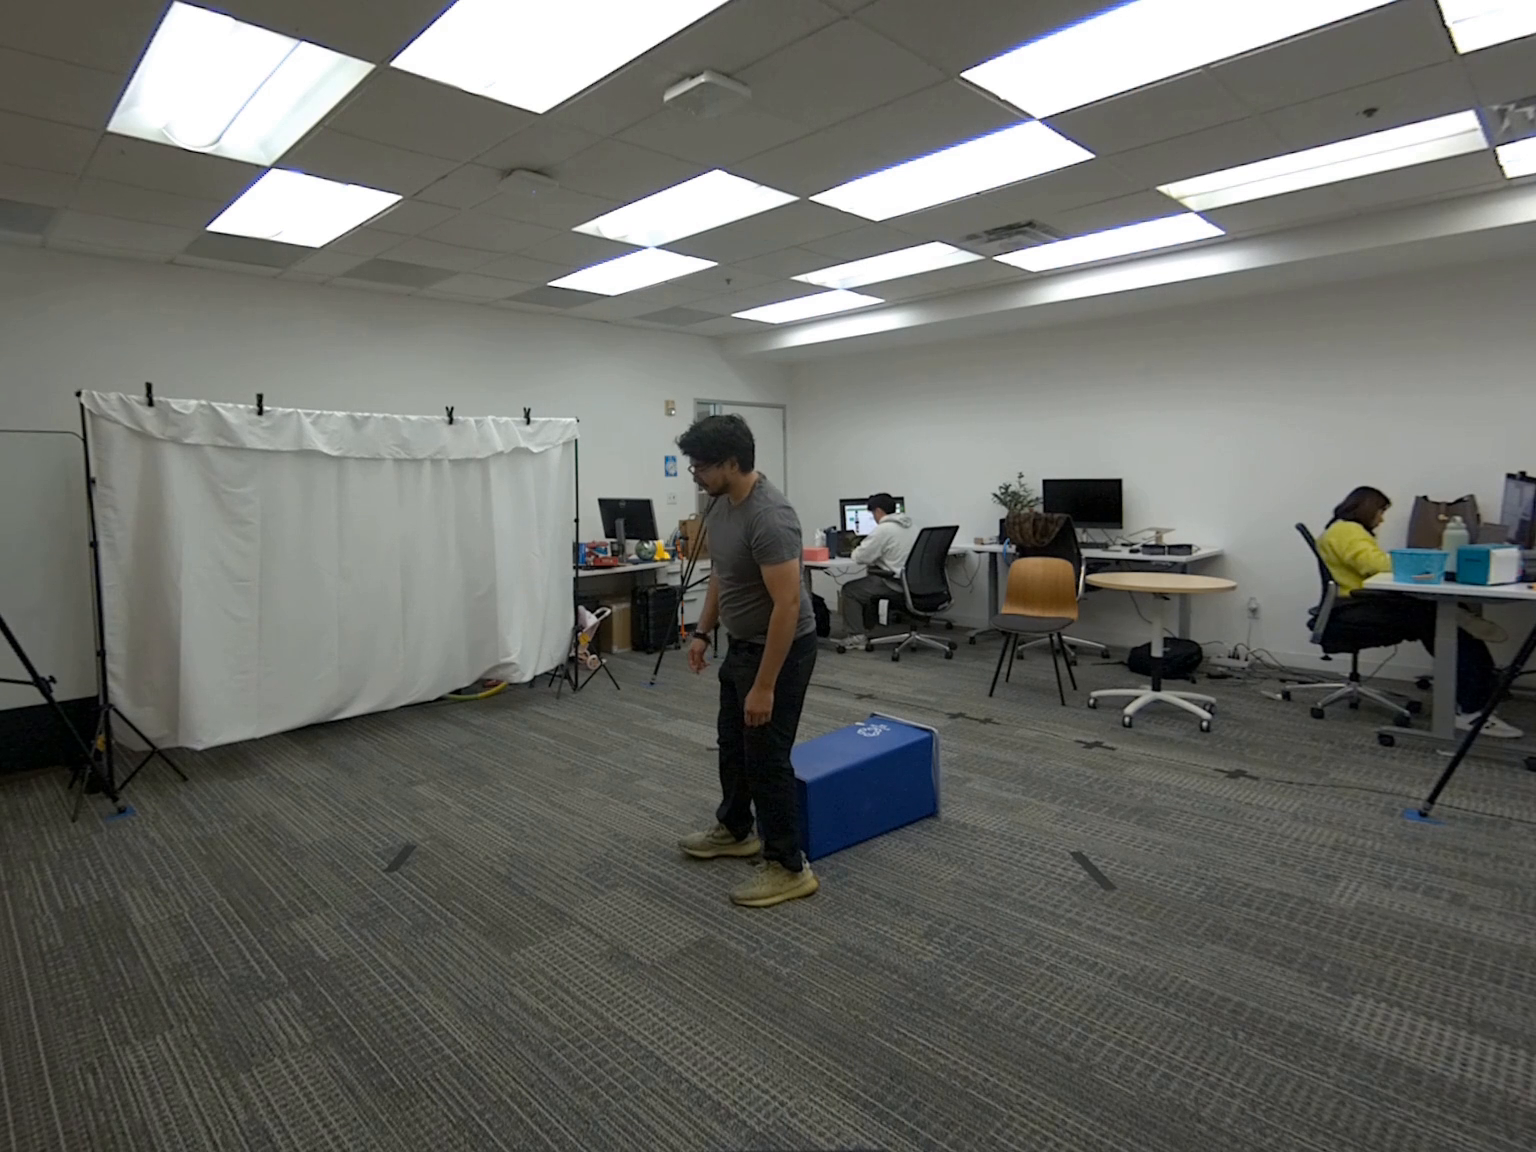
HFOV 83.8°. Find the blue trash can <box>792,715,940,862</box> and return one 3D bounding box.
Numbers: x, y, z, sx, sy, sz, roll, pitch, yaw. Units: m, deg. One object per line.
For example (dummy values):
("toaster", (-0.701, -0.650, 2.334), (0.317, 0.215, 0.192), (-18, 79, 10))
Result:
("blue trash can", (0.319, 0.824, 3.407), (0.696, 0.372, 0.389), (-8, 8, -39))
